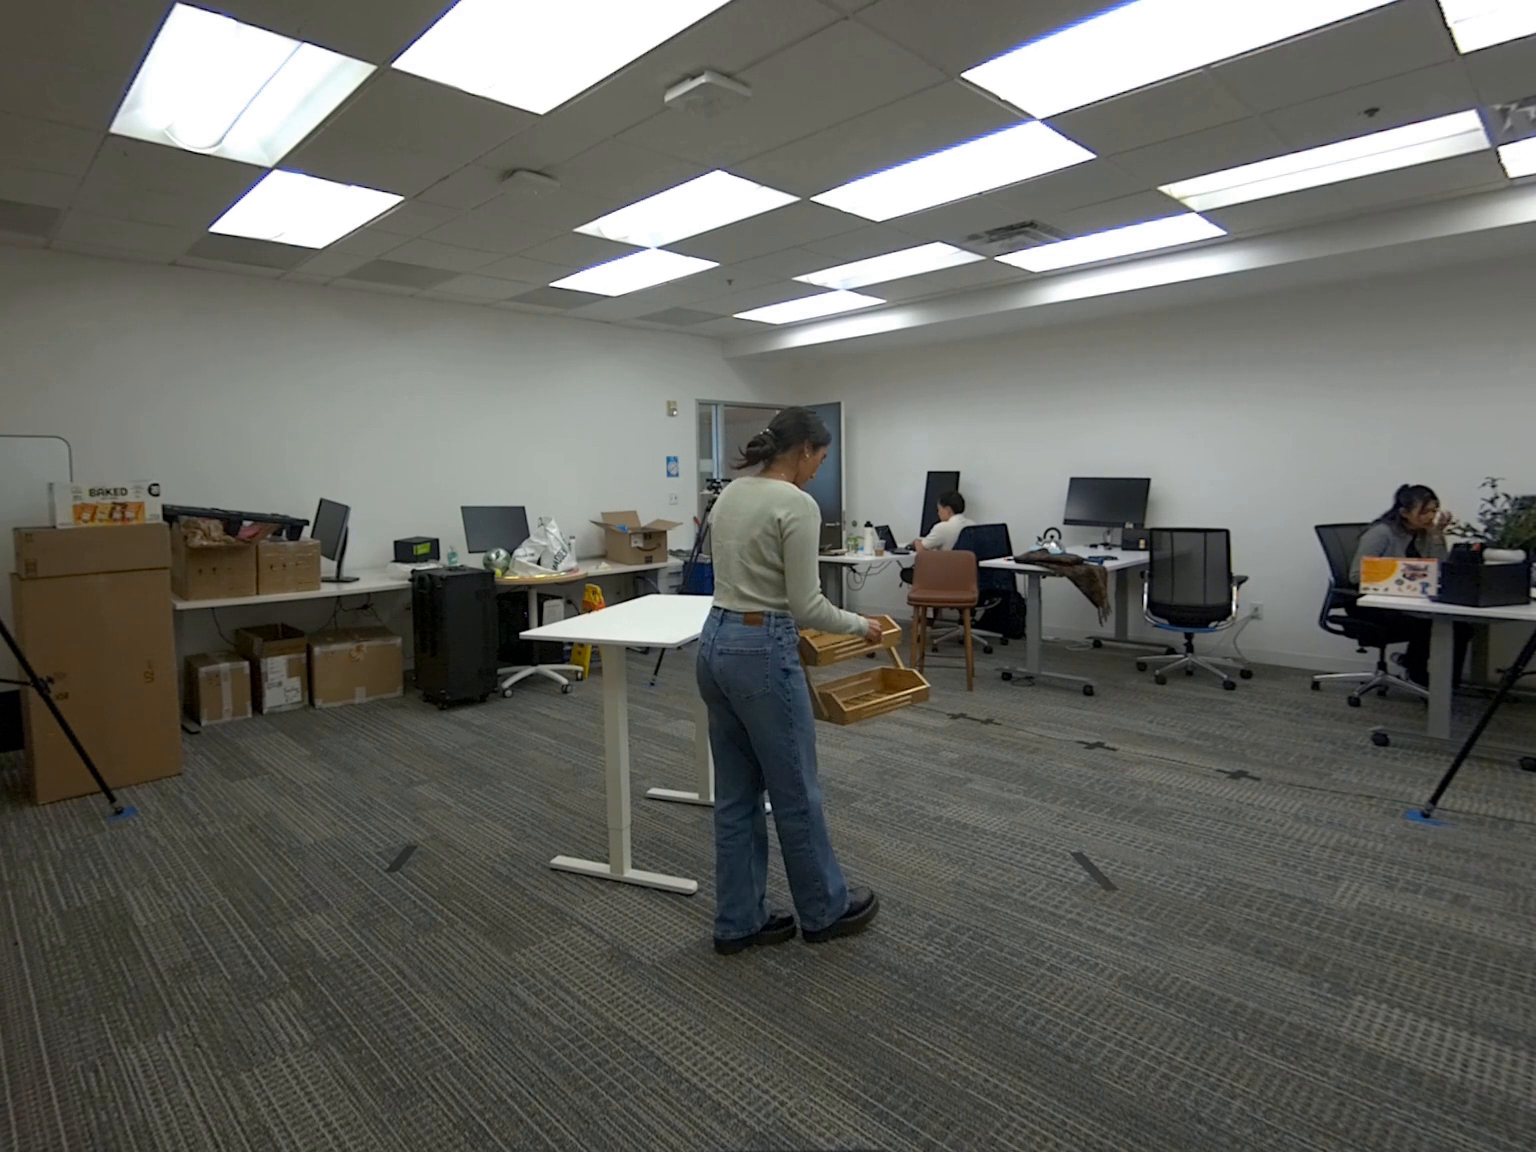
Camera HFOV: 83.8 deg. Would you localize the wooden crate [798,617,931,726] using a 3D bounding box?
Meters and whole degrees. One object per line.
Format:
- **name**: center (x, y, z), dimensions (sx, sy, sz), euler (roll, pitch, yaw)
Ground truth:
- **wooden crate**: center (0.279, 0.271, 2.627), dimensions (0.319, 0.274, 0.307), euler (-13, 0, -24)
